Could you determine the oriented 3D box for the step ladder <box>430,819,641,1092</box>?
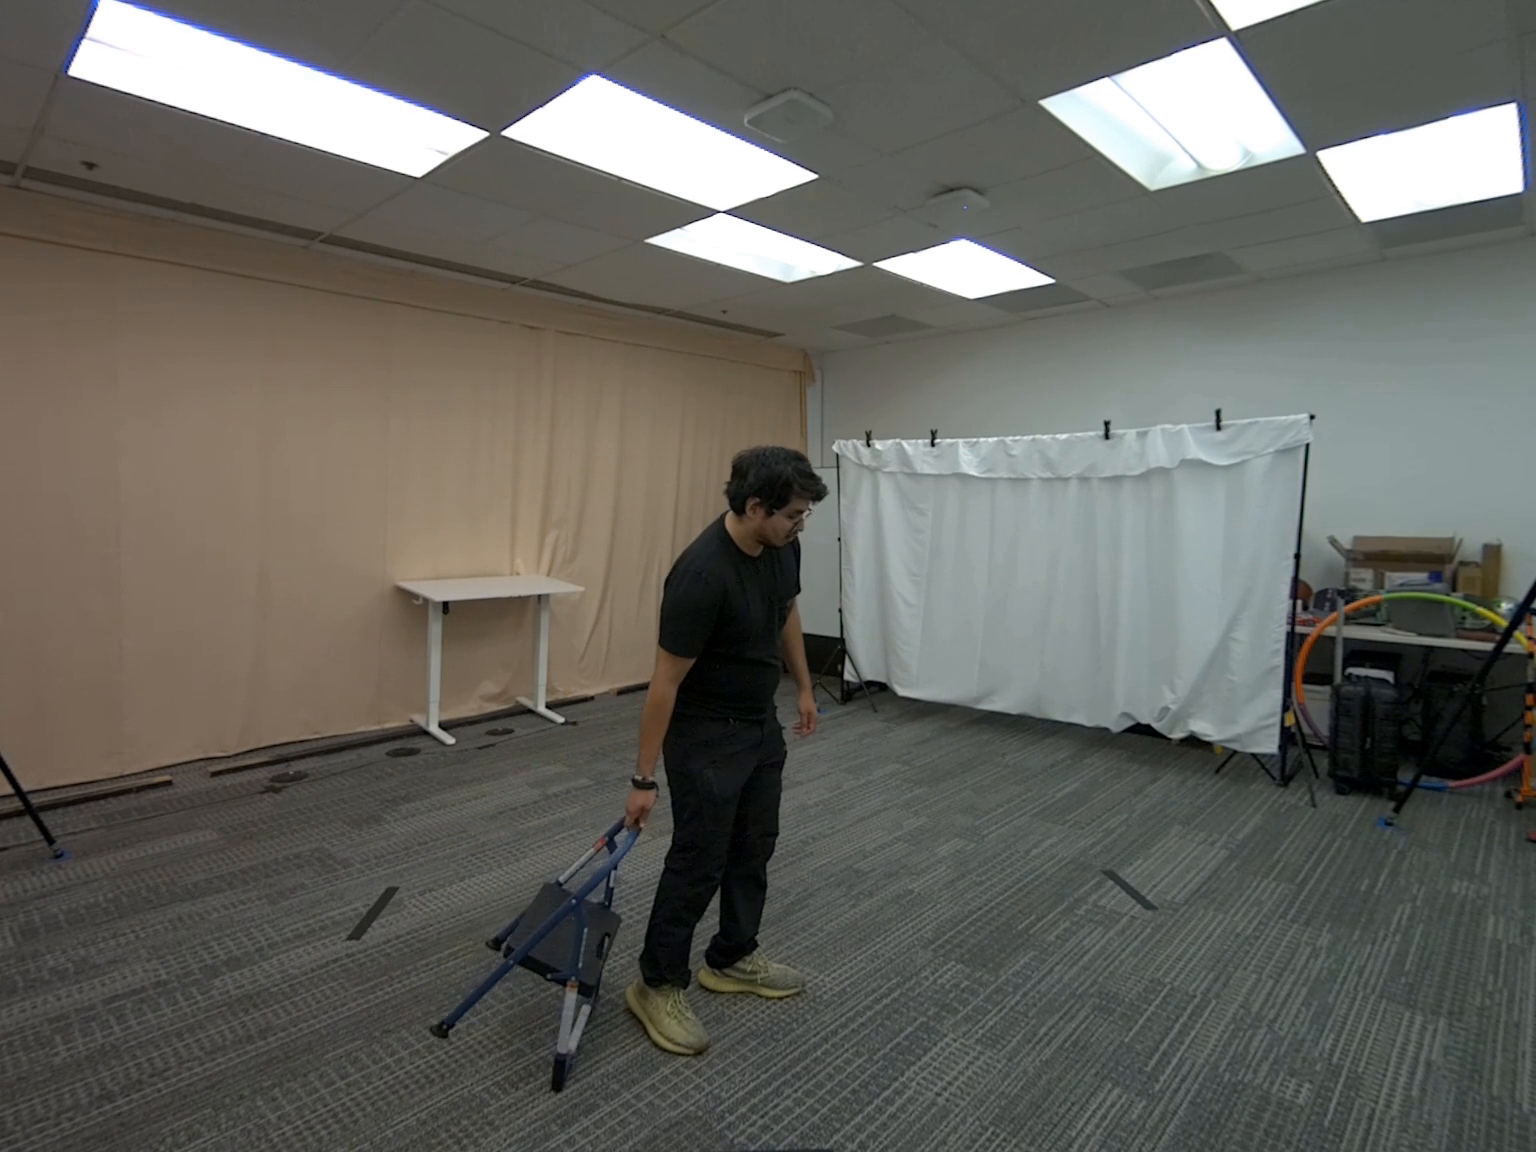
[{"bbox_3d":[-0.522,0.879,2.180,0.350,0.605,0.430,25,5,0],"label":"step ladder"}]
